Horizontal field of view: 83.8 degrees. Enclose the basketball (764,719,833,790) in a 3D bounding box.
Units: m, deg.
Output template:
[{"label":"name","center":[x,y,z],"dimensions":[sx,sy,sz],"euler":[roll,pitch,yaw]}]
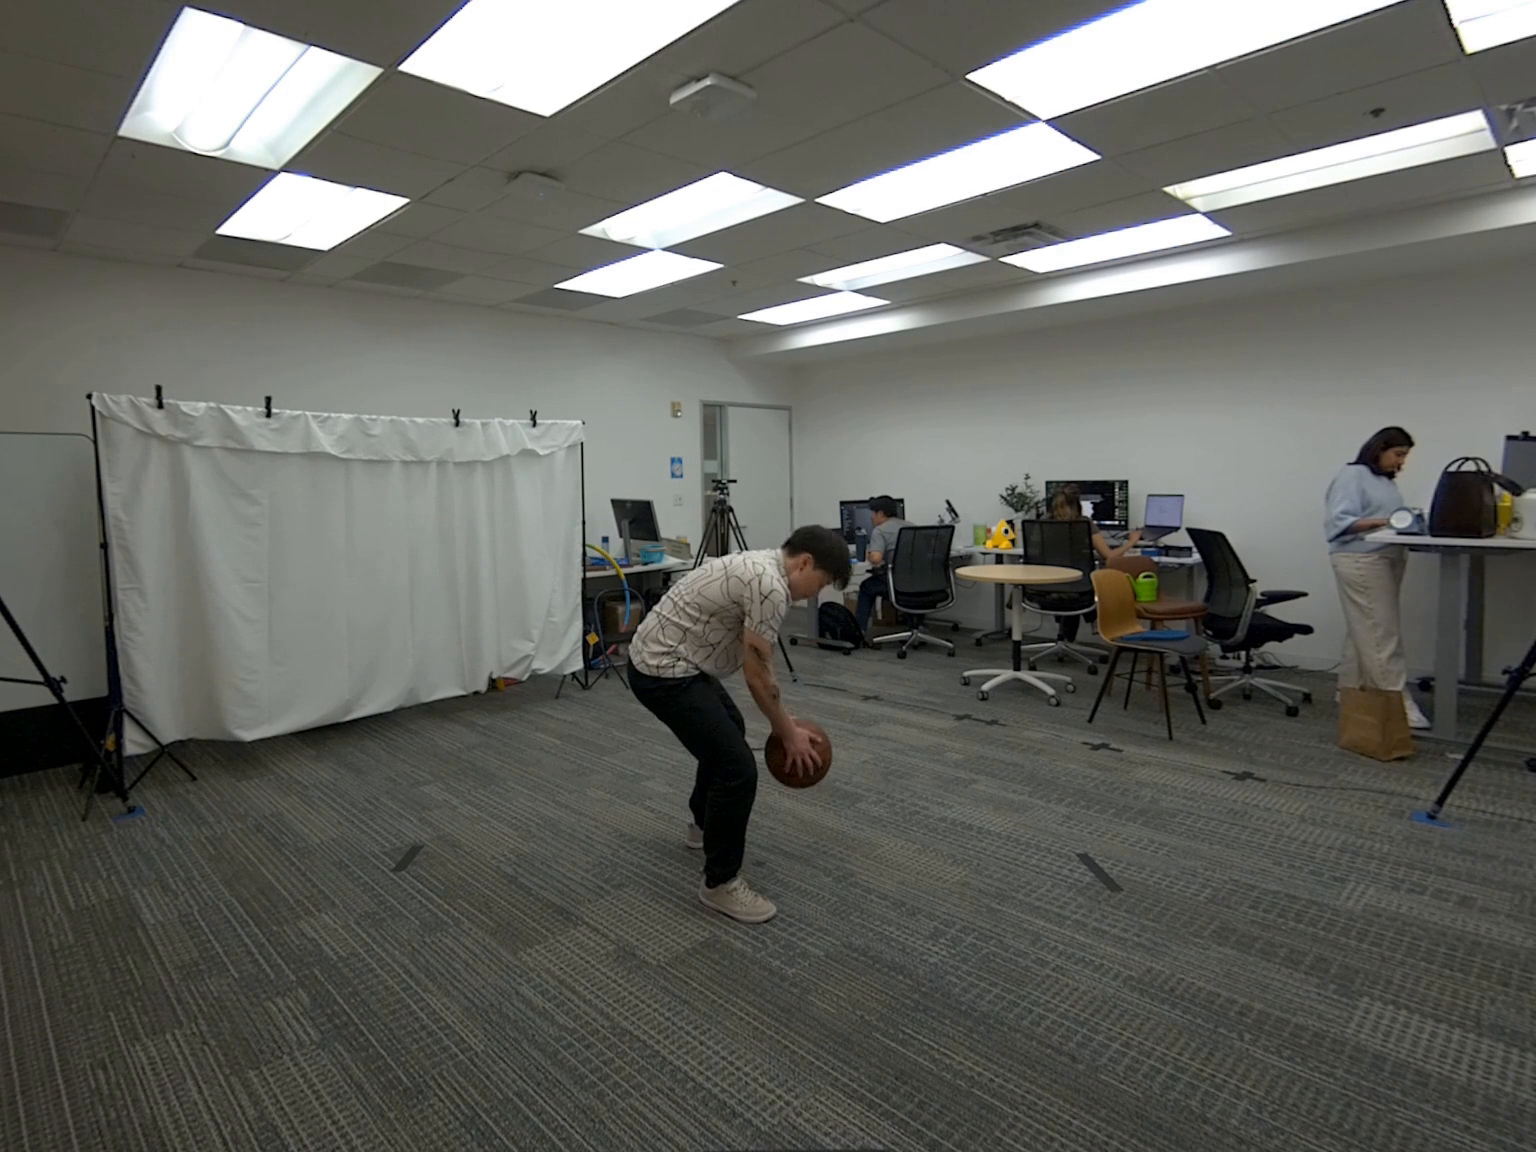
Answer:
[{"label":"basketball","center":[0.107,0.618,3.007],"dimensions":[0.236,0.235,0.237],"euler":[-1,5,-2]}]
